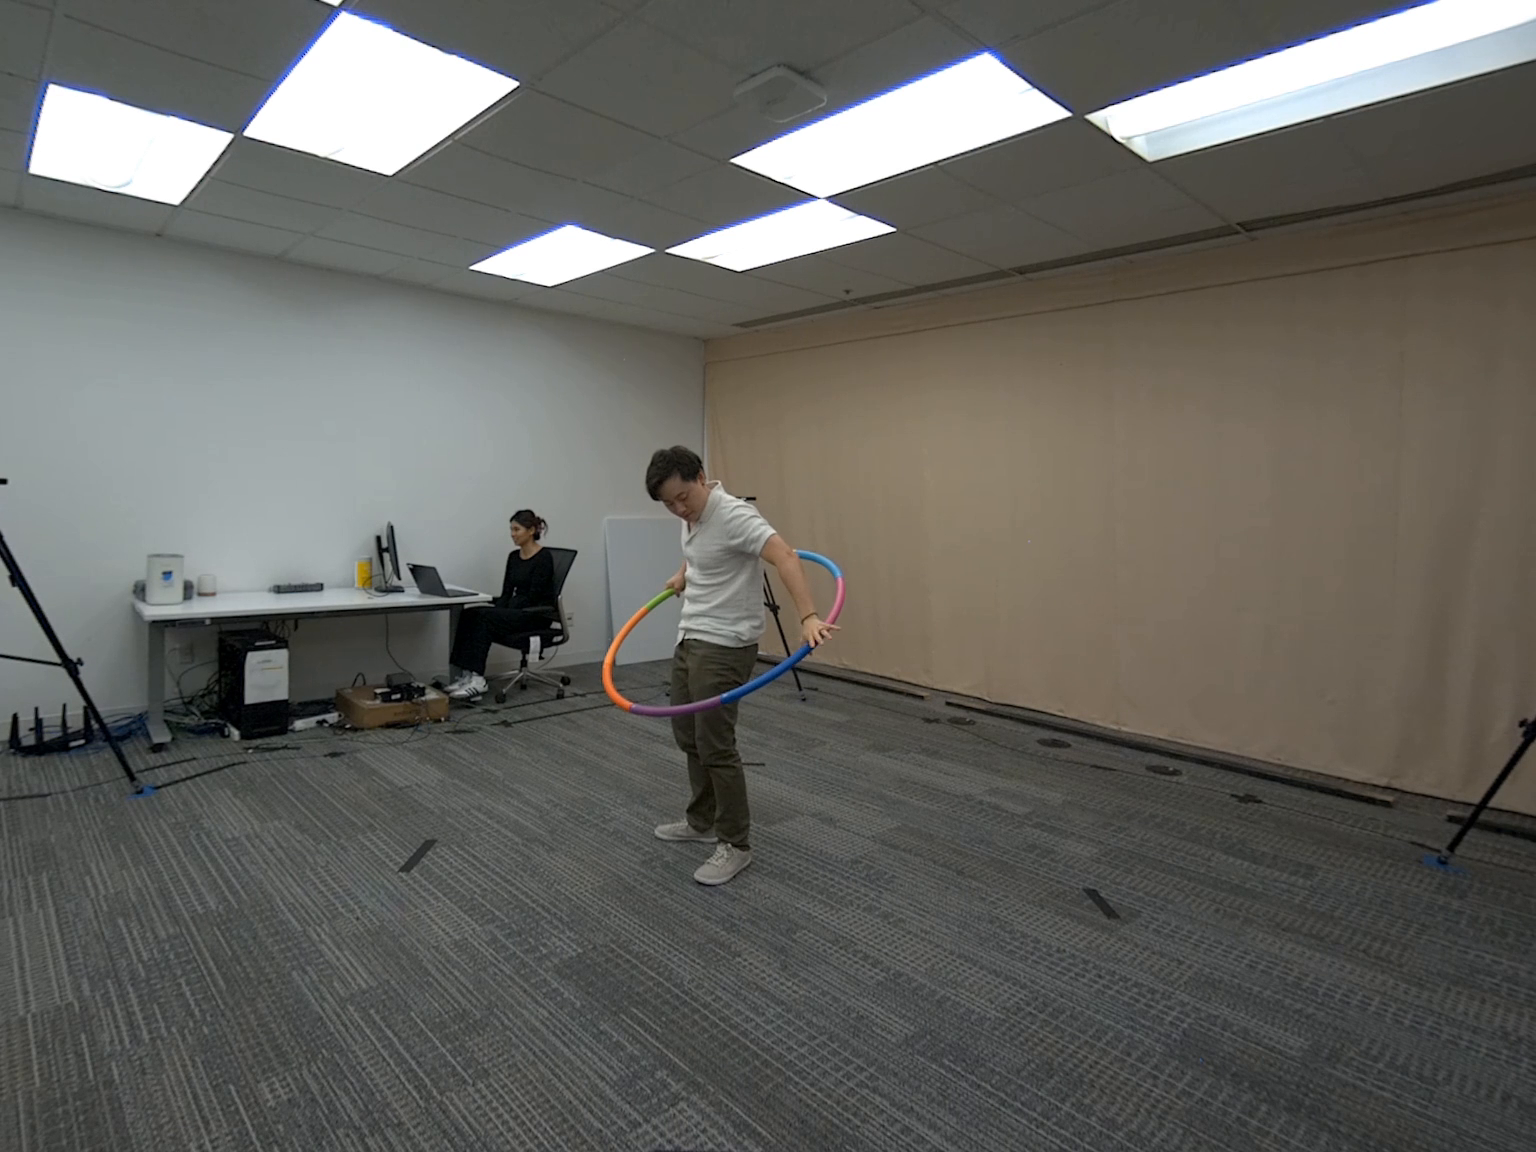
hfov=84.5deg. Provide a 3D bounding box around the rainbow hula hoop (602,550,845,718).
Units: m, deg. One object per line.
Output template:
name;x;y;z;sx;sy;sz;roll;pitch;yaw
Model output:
rainbow hula hoop;-0.188;0.181;3.163;0.983;0.035;0.997;-21;27;9
